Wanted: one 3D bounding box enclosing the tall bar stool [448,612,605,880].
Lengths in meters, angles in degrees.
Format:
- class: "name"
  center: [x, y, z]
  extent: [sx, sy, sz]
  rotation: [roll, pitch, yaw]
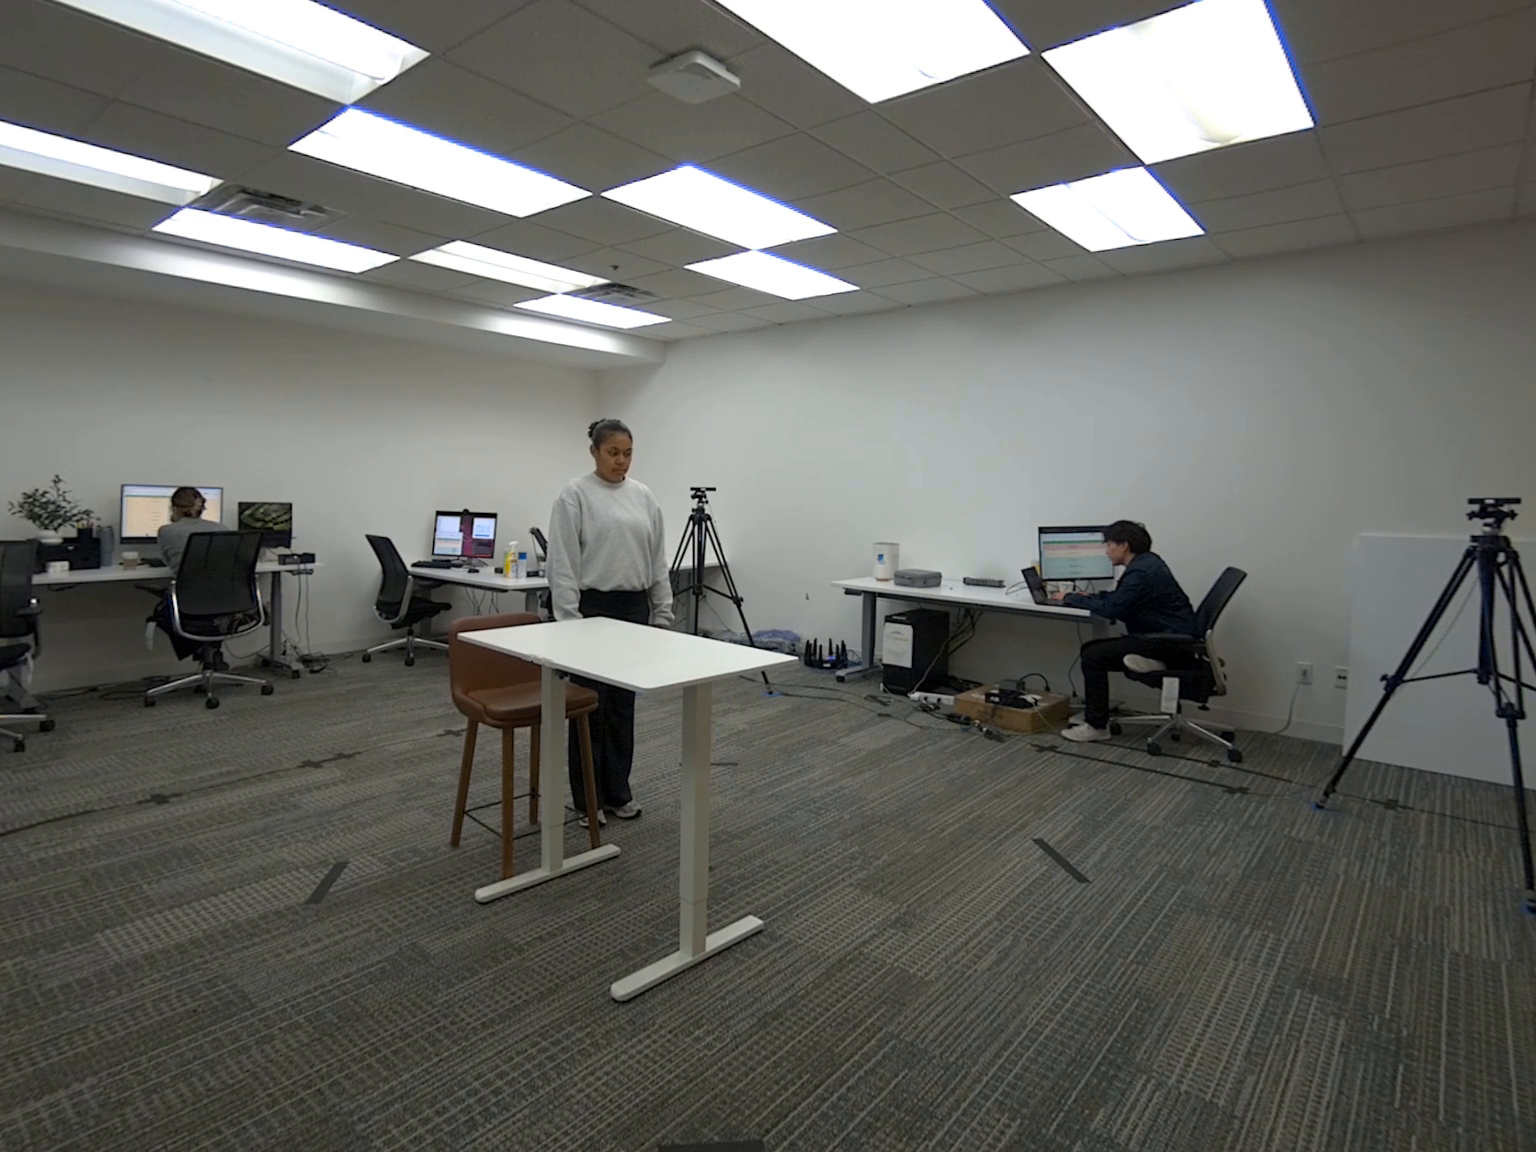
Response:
- class: "tall bar stool"
  center: [-0.939, 0.608, 3.218]
  extent: [0.482, 0.889, 0.442]
  rotation: [0, 1, 45]
